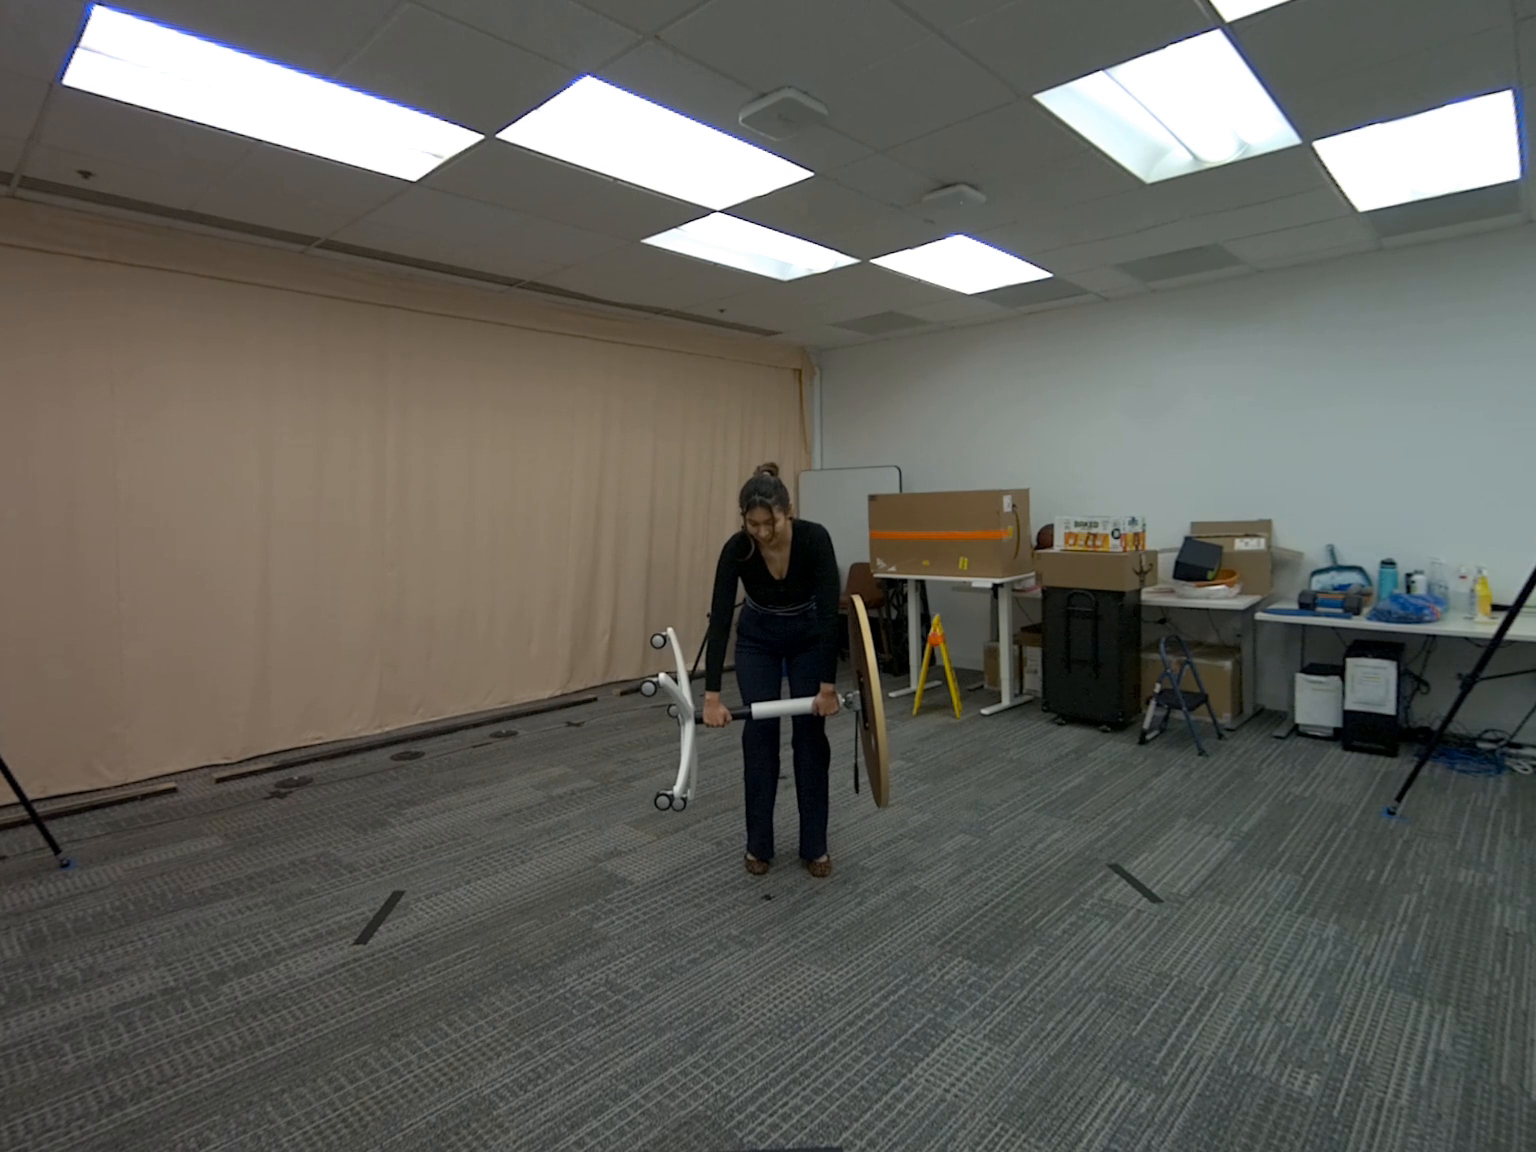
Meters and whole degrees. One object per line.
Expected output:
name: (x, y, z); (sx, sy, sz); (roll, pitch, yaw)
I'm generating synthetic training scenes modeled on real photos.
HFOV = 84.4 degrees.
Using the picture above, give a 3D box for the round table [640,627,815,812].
round table: (-0.016, 0.505, 3.113); (0.796, 0.762, 0.764); (-7, 4, 2)
